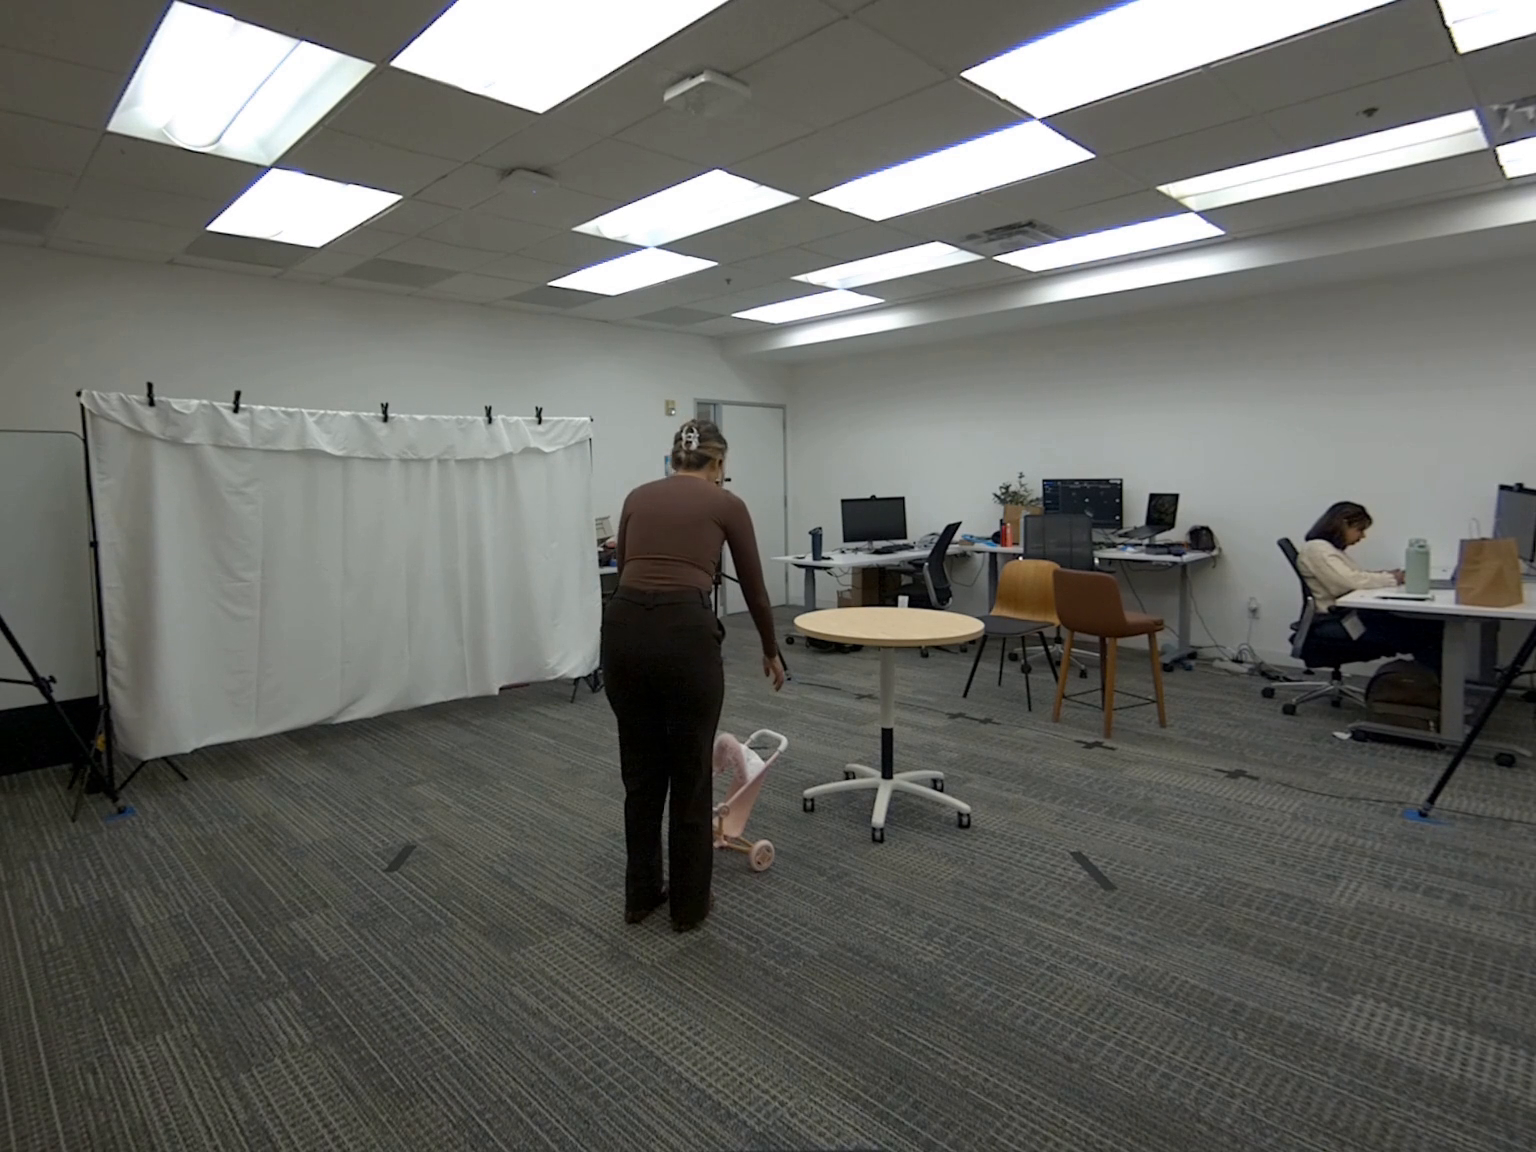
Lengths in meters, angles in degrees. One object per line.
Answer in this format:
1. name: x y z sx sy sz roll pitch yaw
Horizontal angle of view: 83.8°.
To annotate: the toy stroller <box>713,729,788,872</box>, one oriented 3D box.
1. toy stroller: -0.149 0.817 3.103 0.332 0.536 0.289 13 -3 -29
